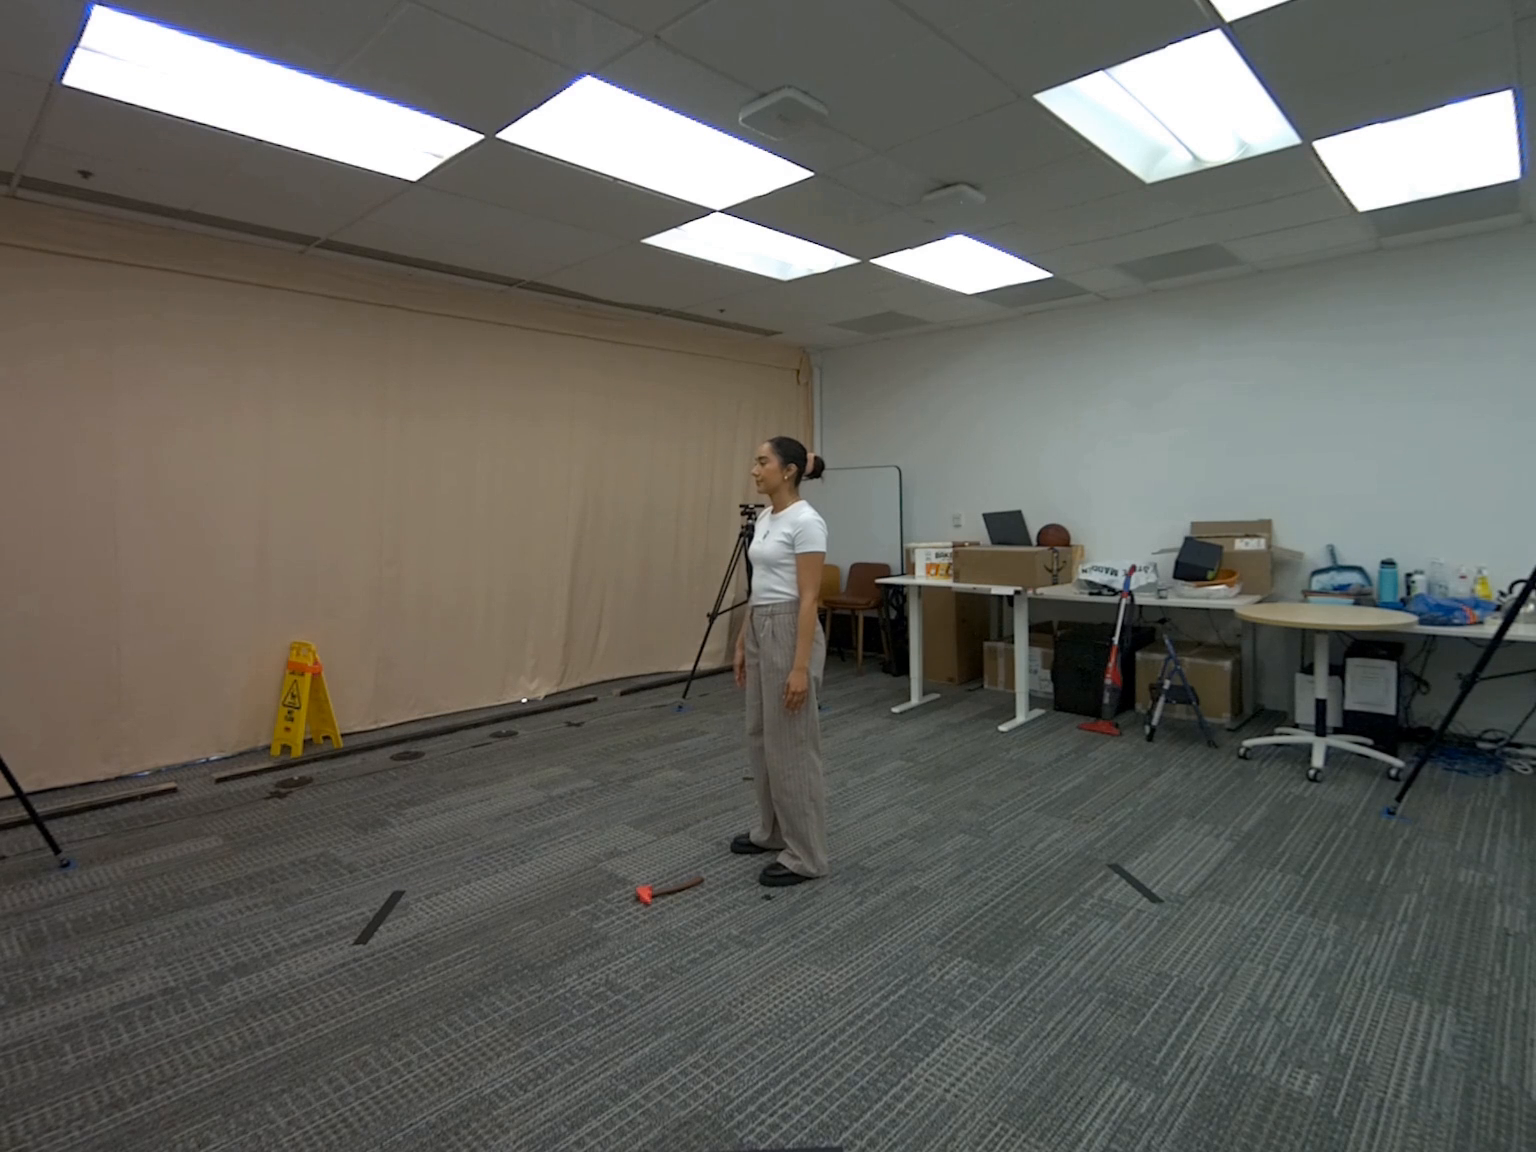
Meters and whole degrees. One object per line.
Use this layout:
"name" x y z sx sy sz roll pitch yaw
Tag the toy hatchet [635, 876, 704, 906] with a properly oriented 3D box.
"toy hatchet" -0.371 1.129 3.057 0.262 0.029 0.135 -4 3 -43
